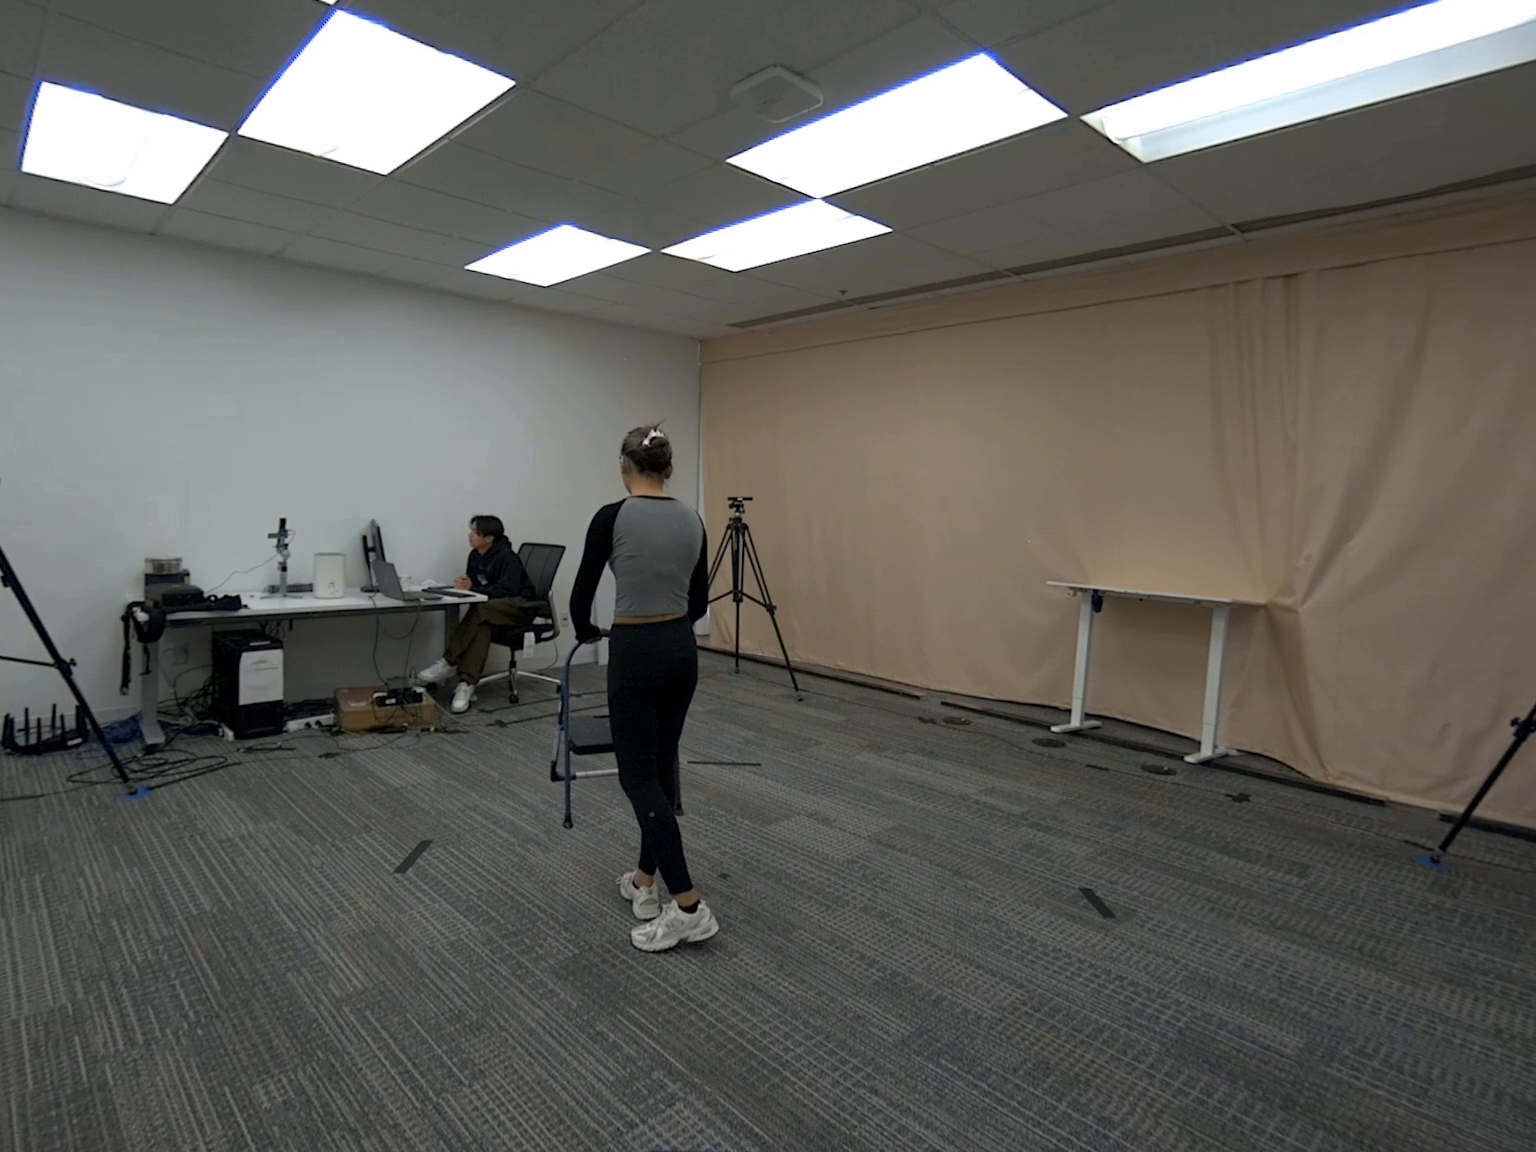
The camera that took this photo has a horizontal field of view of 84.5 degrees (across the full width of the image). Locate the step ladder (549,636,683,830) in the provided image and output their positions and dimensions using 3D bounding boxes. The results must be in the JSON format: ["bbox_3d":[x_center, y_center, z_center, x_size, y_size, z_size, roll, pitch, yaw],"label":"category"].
[{"bbox_3d":[-0.536,0.519,3.011,0.423,0.601,0.358,1,12,-24],"label":"step ladder"}]
